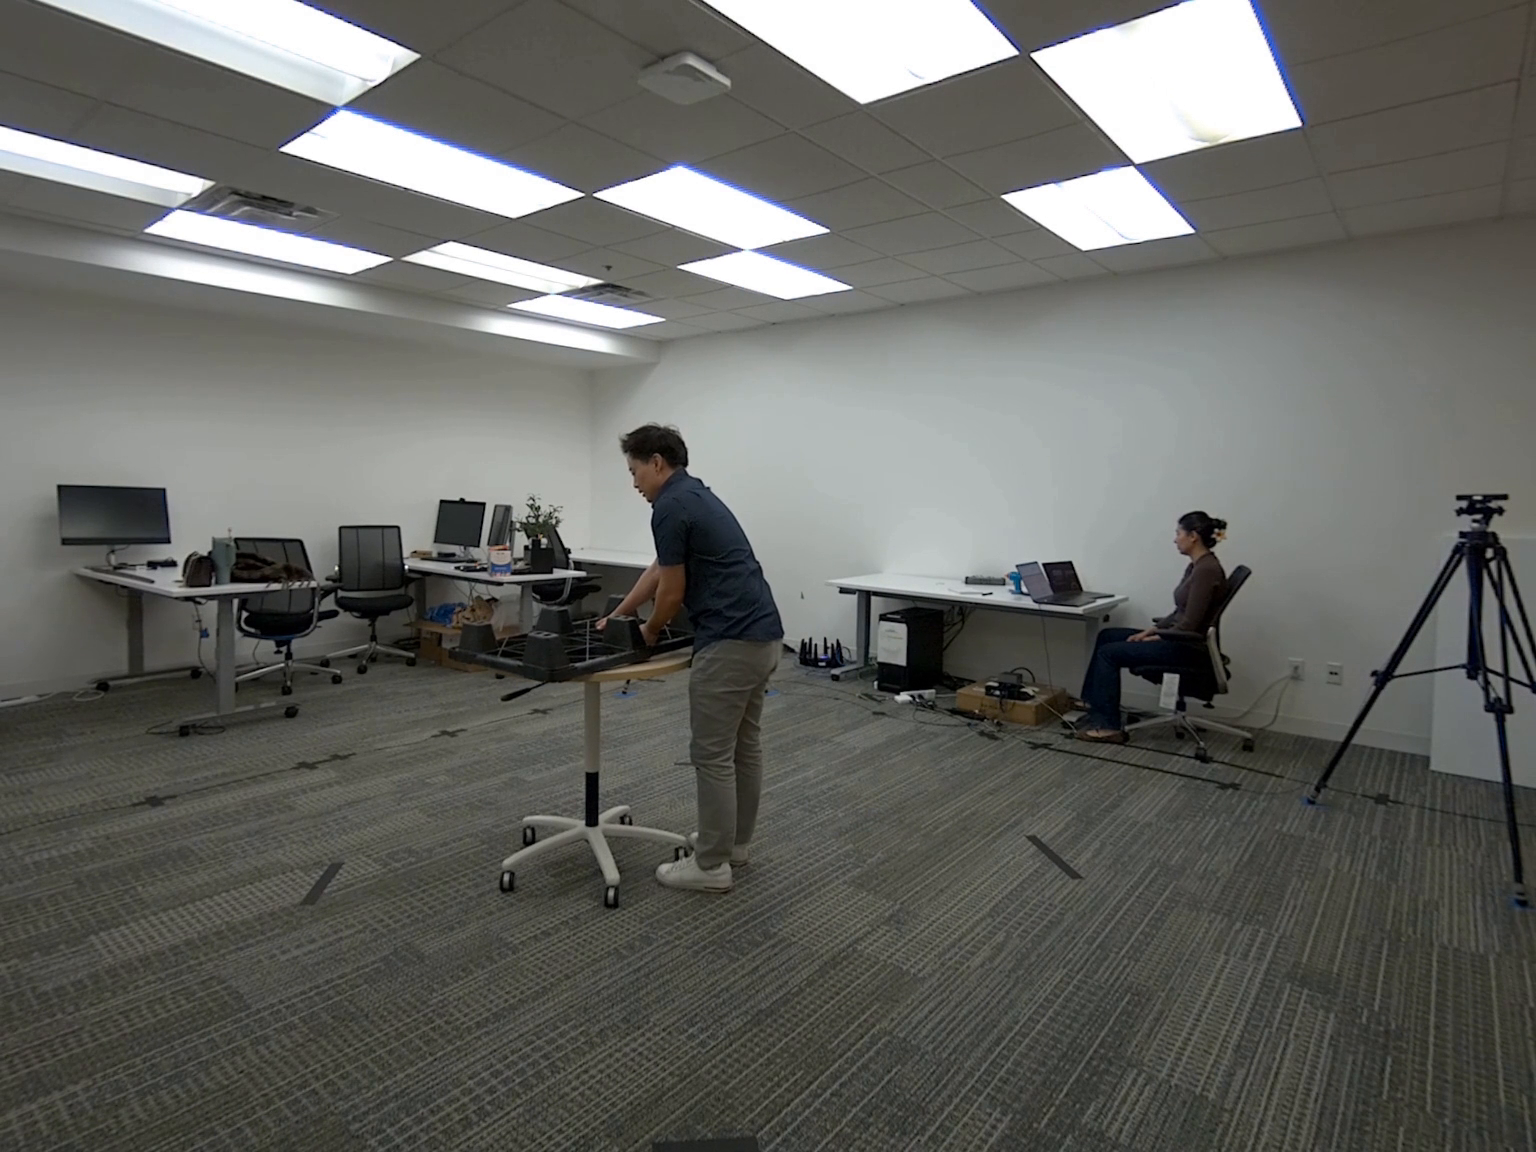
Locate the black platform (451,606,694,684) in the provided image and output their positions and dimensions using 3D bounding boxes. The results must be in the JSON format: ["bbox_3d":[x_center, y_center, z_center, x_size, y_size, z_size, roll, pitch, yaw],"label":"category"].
[{"bbox_3d":[-0.670,0.203,3.110,0.625,0.142,0.784,5,9,38],"label":"black platform"}]
